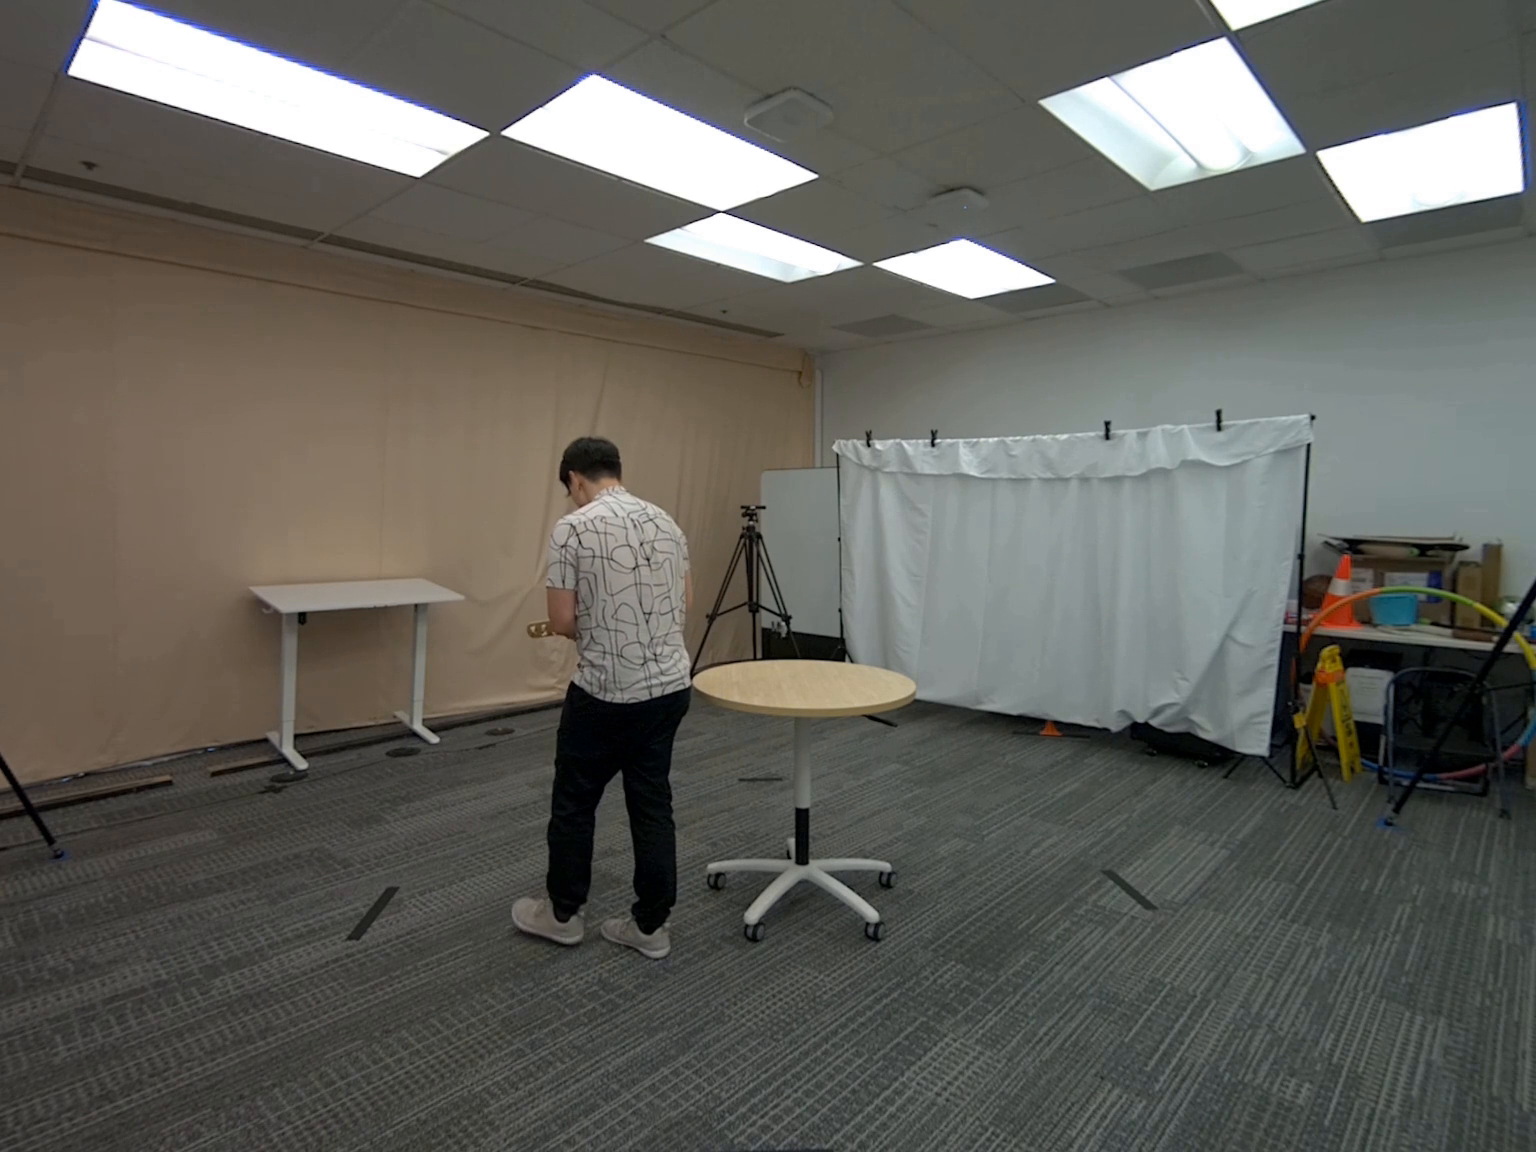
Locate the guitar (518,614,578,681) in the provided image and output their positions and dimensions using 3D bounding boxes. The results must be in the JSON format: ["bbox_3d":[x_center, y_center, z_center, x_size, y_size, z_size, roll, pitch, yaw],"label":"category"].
[{"bbox_3d":[-0.566,0.181,2.846,0.500,0.191,0.071,-16,11,6],"label":"guitar"}]
